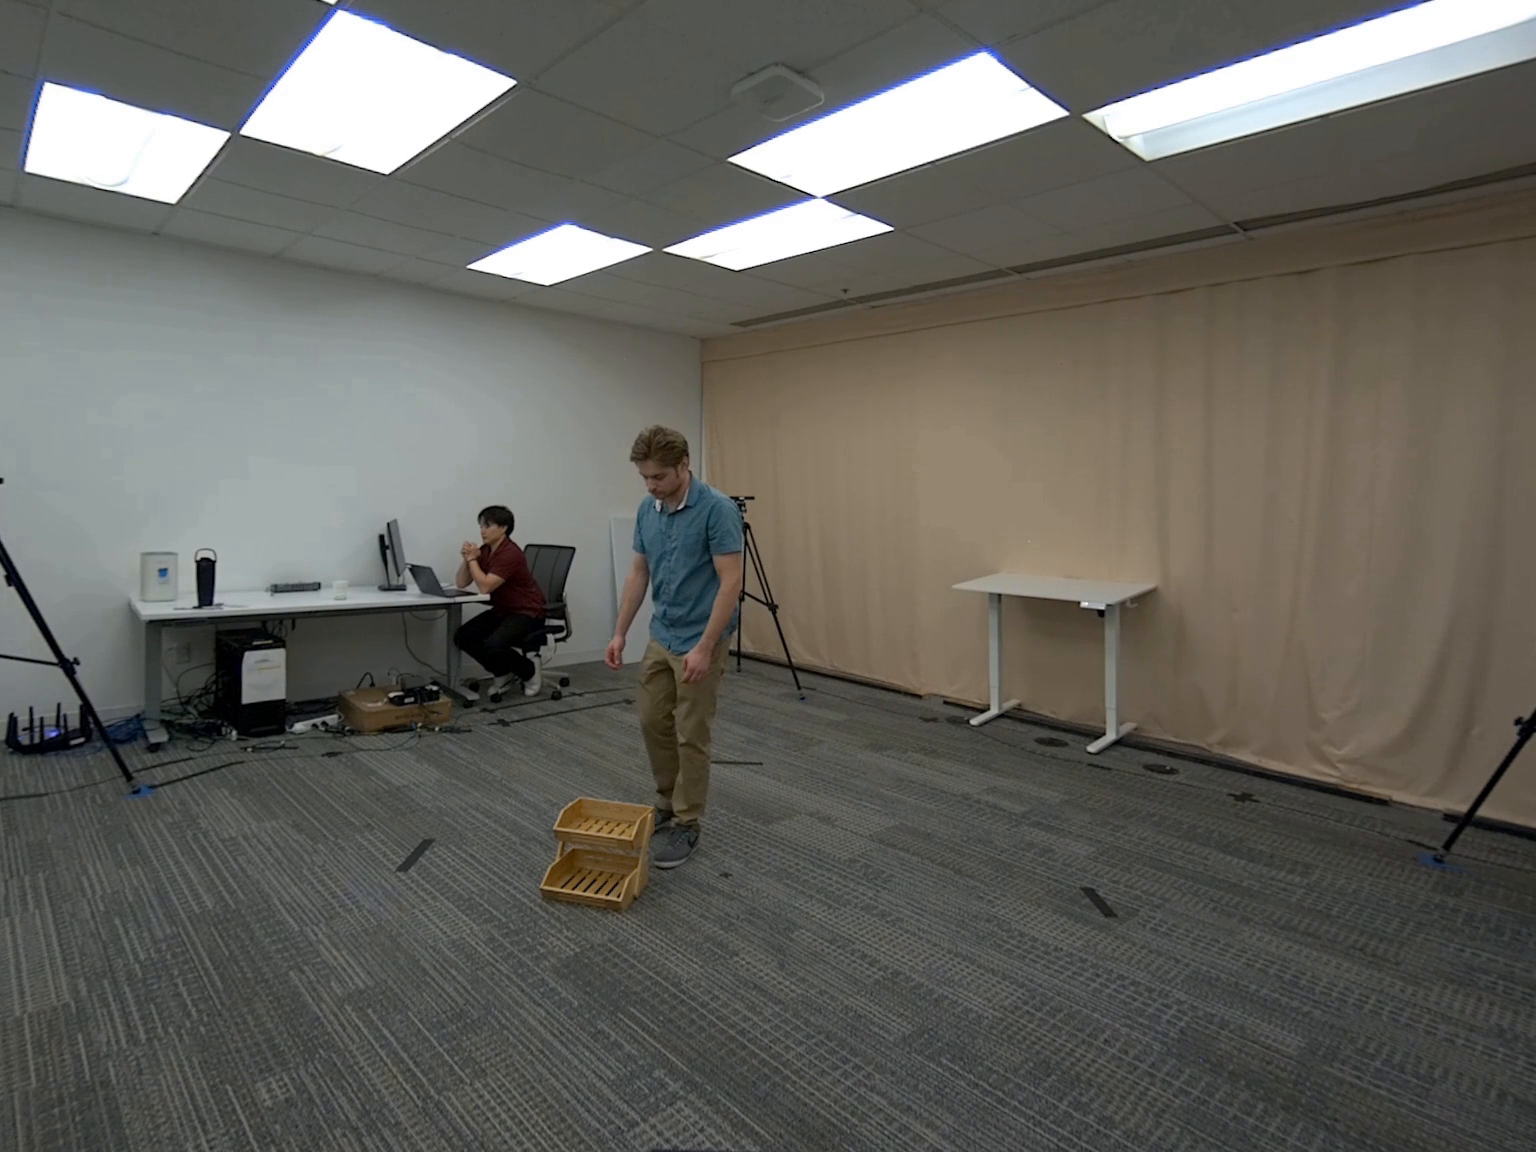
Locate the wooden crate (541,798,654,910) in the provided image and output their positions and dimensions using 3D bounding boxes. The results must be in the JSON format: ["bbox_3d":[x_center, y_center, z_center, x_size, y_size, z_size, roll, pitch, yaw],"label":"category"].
[{"bbox_3d":[-0.609,0.979,2.962,0.328,0.272,0.299,3,5,14],"label":"wooden crate"}]
